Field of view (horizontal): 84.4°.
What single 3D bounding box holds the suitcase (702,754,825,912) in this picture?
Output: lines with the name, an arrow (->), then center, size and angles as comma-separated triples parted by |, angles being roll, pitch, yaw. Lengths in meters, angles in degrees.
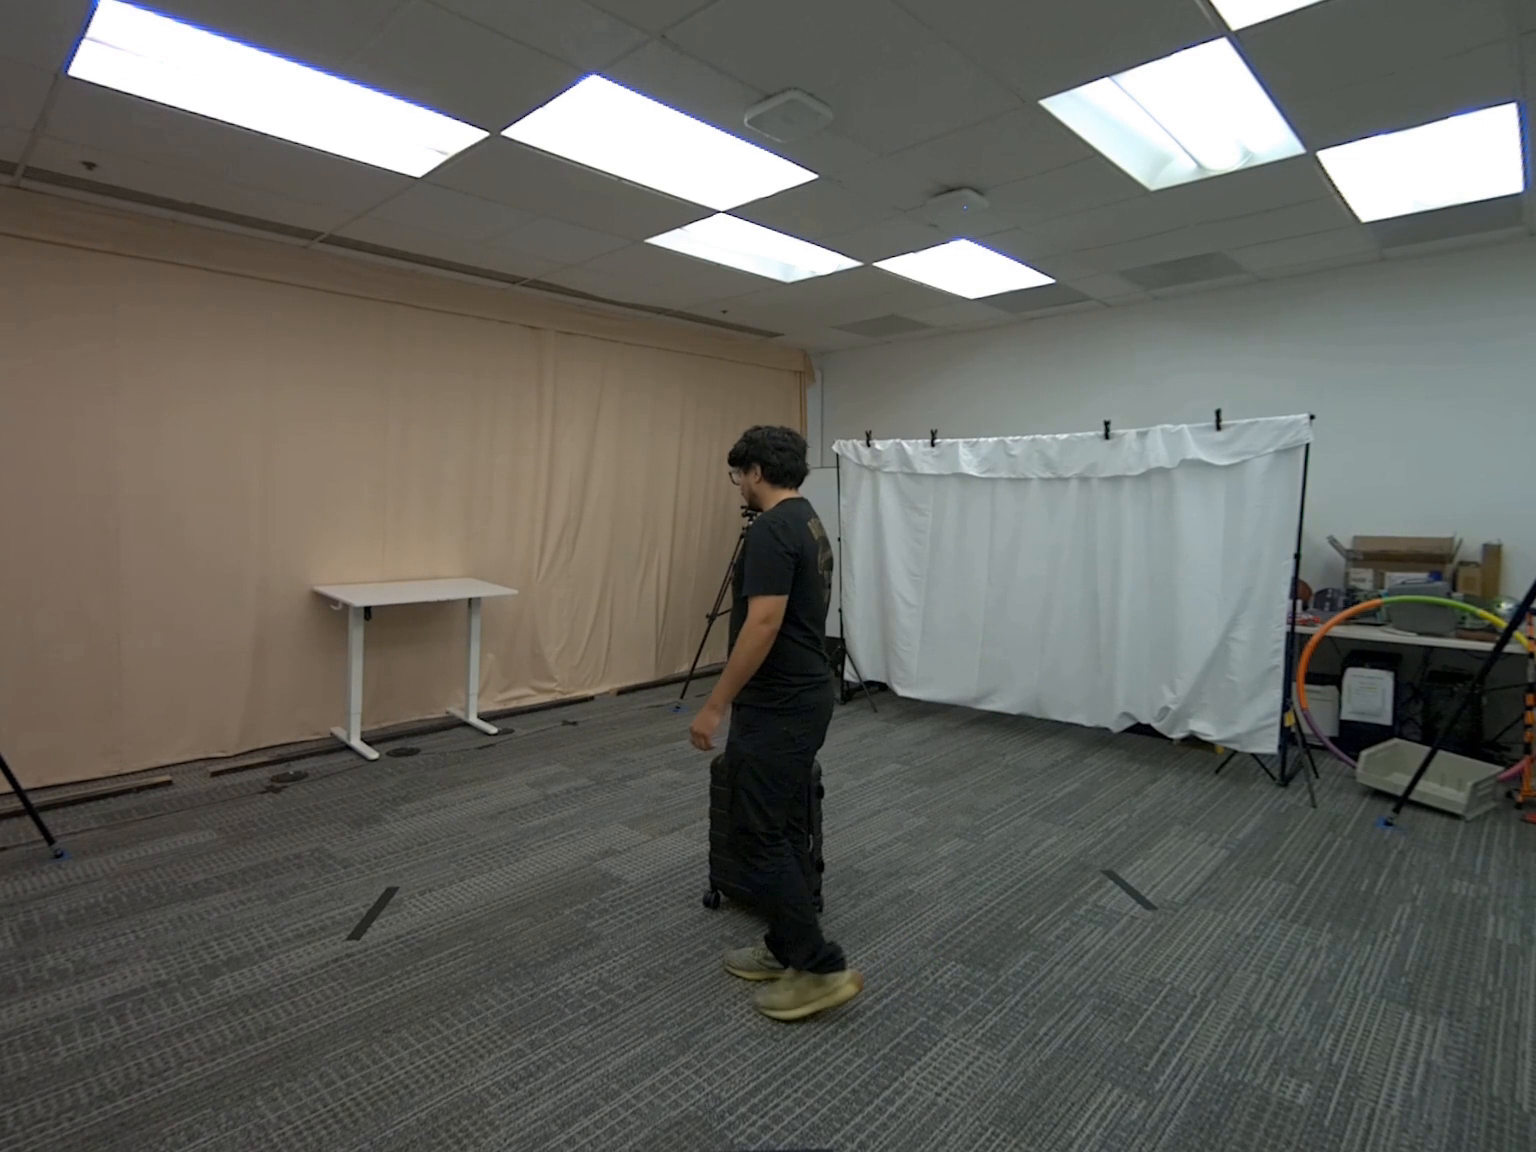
suitcase -> -0.003, 0.674, 2.915 | 0.396, 0.978, 0.249 | 2, 1, 38
